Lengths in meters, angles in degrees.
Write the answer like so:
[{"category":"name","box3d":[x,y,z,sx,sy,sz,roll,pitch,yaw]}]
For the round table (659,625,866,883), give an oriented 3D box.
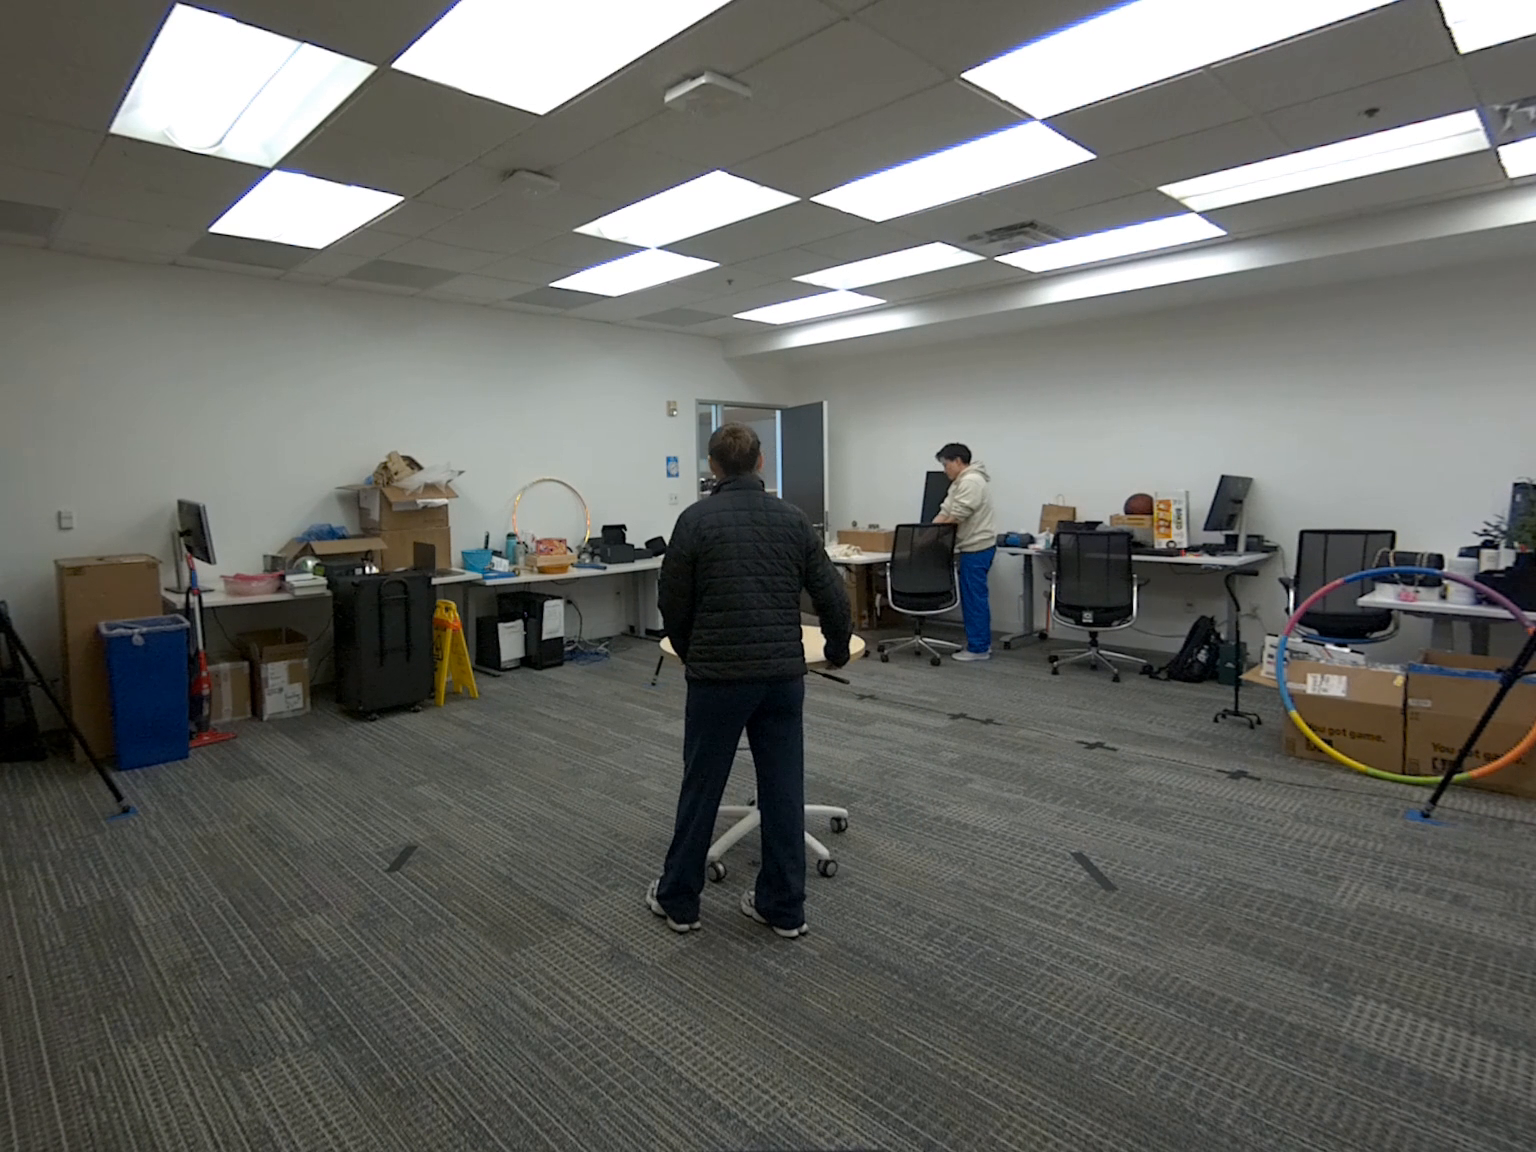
[{"category":"round table","box3d":[-0.012,0.633,3.241,0.784,0.783,0.789,-1,5,-2]}]
